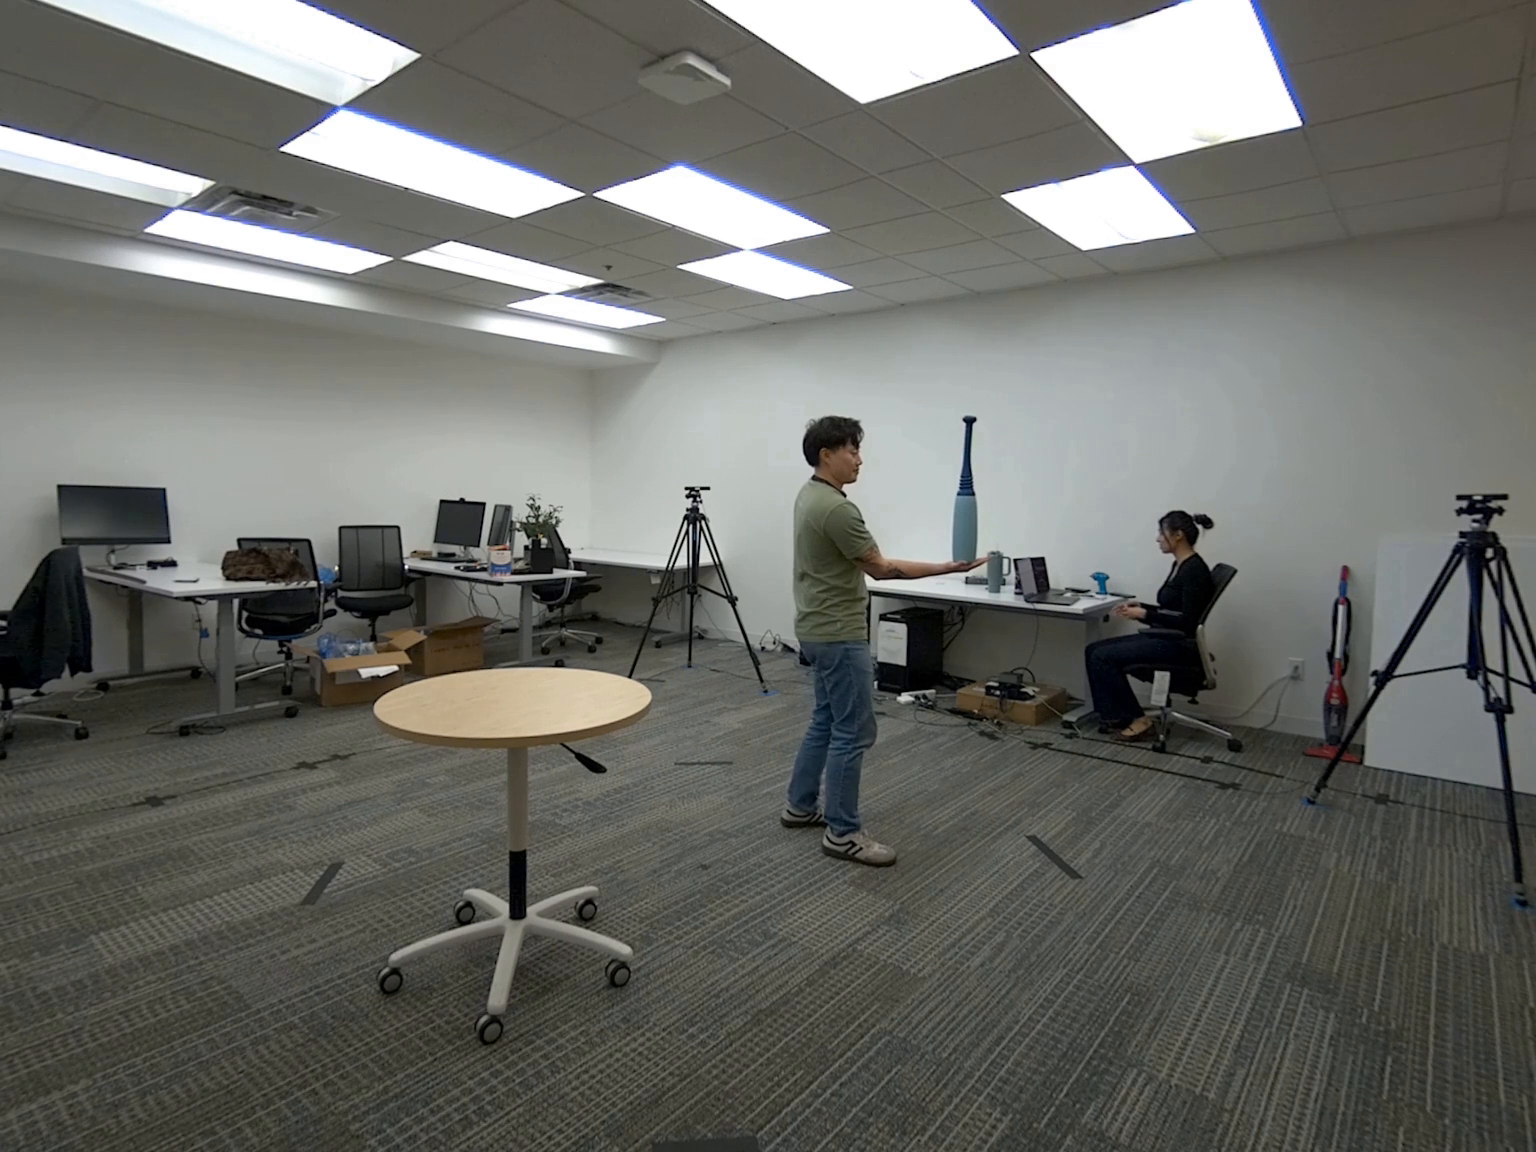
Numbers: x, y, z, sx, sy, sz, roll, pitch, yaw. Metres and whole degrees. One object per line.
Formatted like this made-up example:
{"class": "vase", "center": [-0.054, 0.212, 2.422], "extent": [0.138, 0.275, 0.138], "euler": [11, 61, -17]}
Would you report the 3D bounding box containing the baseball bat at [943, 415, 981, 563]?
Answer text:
{"class": "baseball bat", "center": [0.715, -0.318, 3.105], "extent": [0.089, 0.541, 0.089], "euler": [1, 4, -2]}
